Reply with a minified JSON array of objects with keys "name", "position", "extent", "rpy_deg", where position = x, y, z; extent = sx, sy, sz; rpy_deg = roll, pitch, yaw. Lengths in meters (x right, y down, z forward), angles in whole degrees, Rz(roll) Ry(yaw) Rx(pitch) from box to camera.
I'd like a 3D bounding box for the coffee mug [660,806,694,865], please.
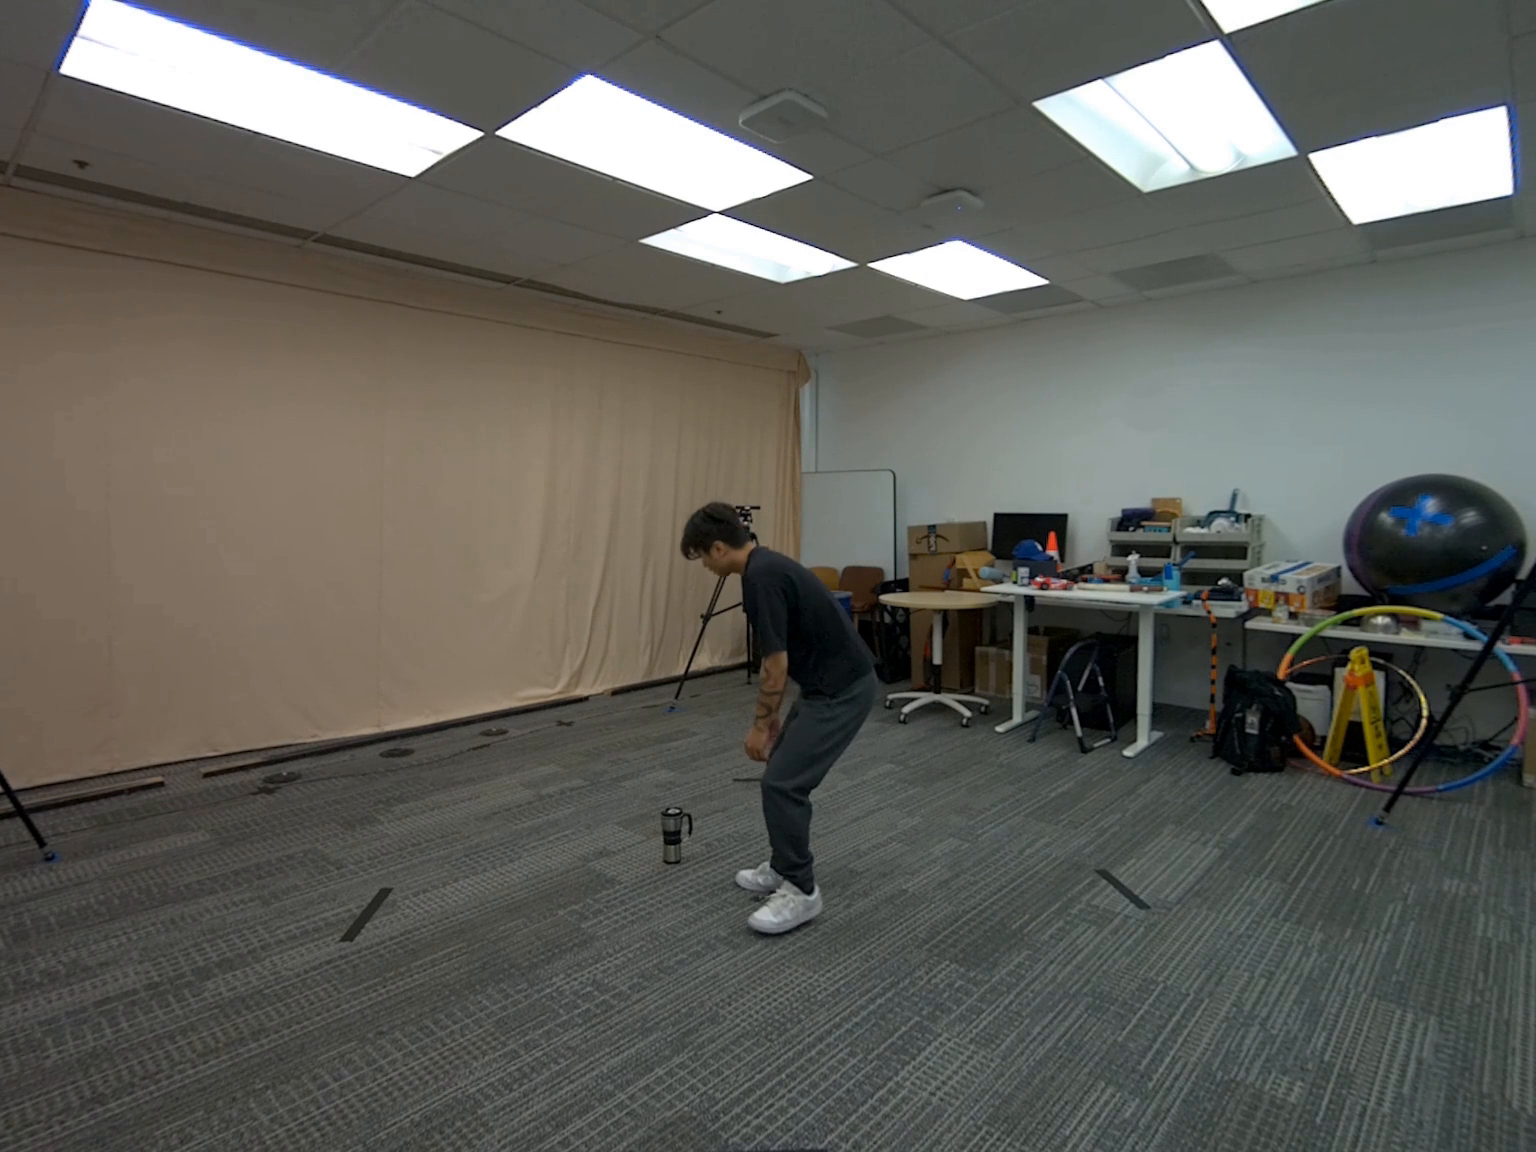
[{"name":"coffee mug","position":[-0.365,1.019,3.285],"extent":[0.085,0.203,0.125],"rpy_deg":[2,-5,-42]}]
